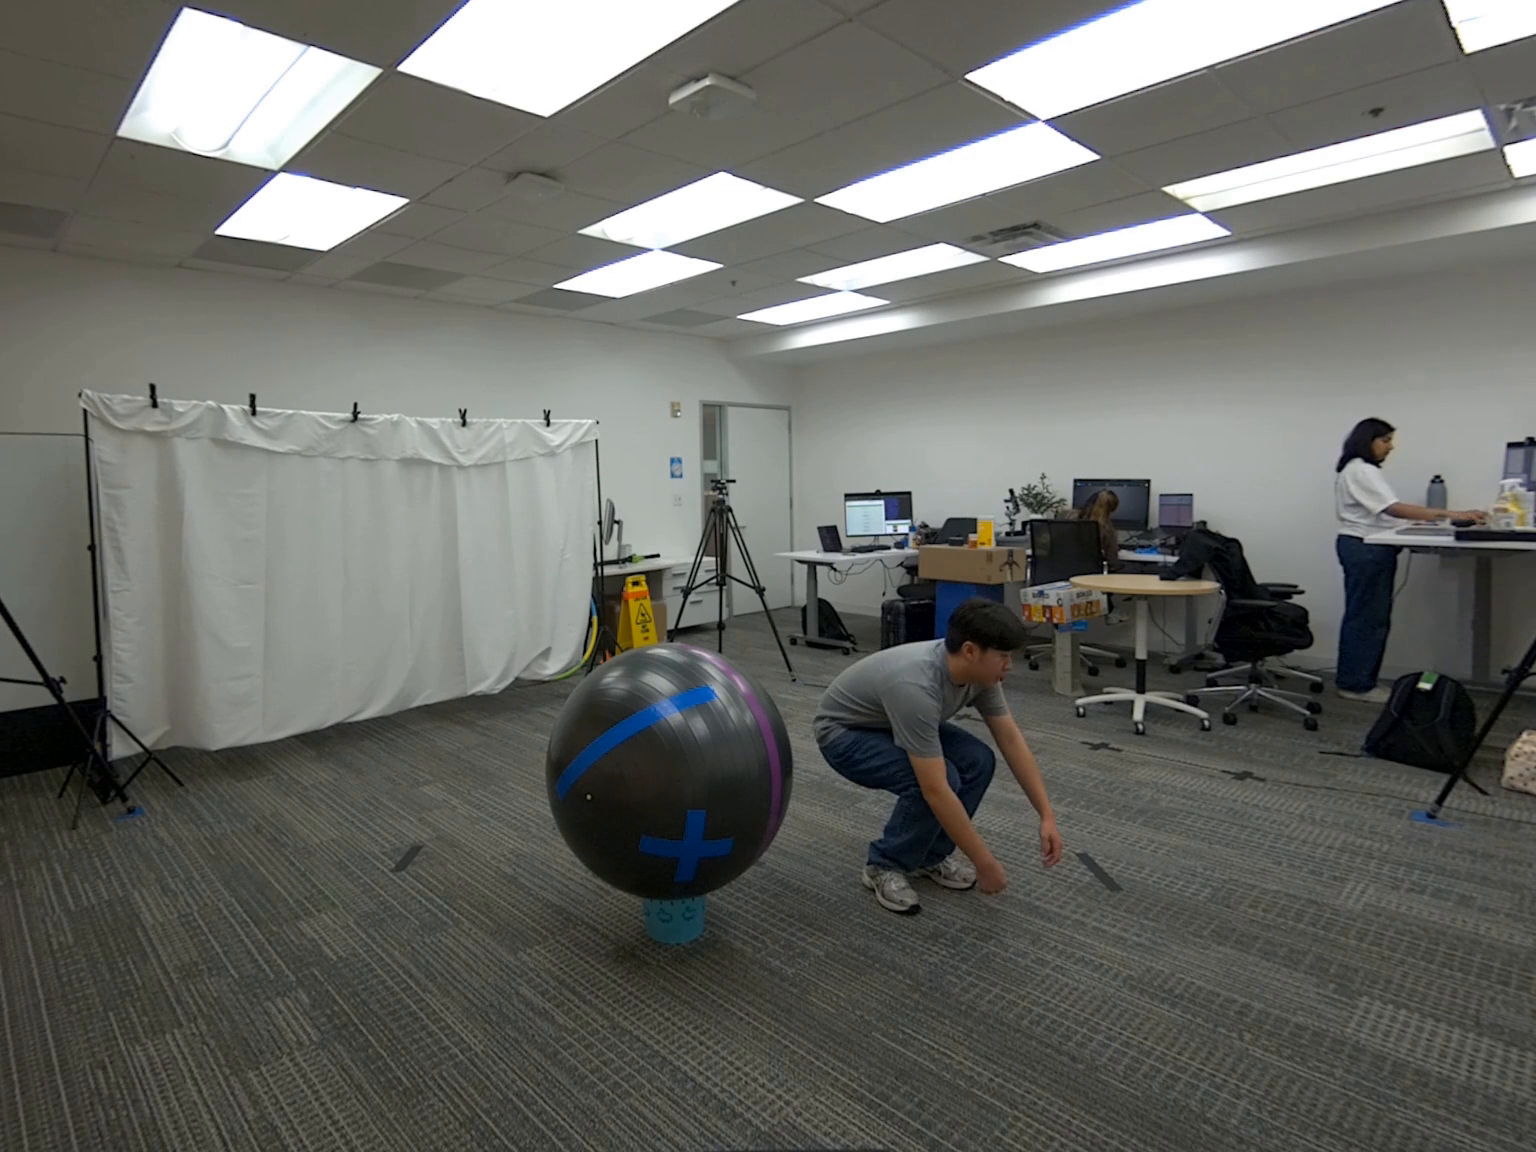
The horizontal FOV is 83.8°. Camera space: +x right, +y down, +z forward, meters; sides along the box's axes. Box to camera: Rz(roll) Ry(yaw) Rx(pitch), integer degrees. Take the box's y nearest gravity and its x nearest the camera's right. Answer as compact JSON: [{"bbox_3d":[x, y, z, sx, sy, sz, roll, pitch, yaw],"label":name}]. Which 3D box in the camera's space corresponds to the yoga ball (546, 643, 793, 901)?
[{"bbox_3d":[-0.303,0.593,2.644,0.757,0.755,0.762,-1,5,-2],"label":"yoga ball"}]
